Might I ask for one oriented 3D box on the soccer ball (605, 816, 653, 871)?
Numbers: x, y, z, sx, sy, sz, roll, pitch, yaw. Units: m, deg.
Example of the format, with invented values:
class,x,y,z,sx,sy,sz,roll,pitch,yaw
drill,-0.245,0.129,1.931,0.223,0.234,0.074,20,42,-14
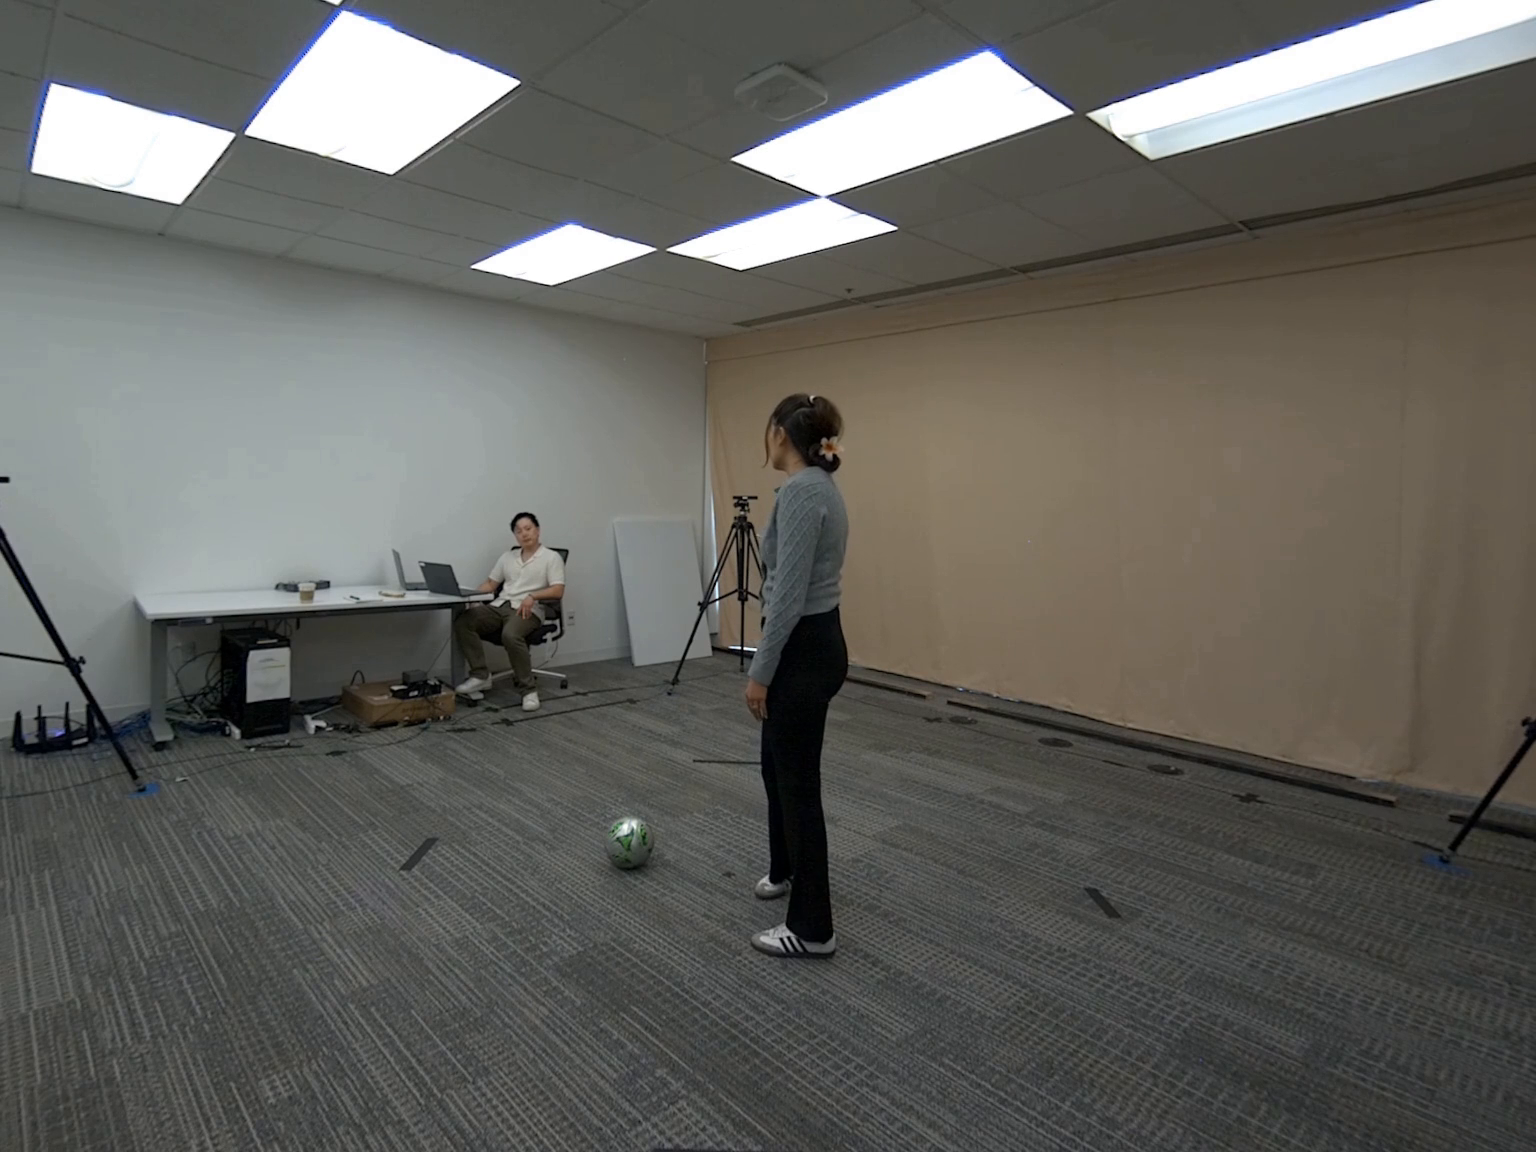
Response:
class,x,y,z,sx,sy,sz,roll,pitch,yaw
soccer ball,-0.531,0.997,3.148,0.187,0.187,0.188,1,4,-1
